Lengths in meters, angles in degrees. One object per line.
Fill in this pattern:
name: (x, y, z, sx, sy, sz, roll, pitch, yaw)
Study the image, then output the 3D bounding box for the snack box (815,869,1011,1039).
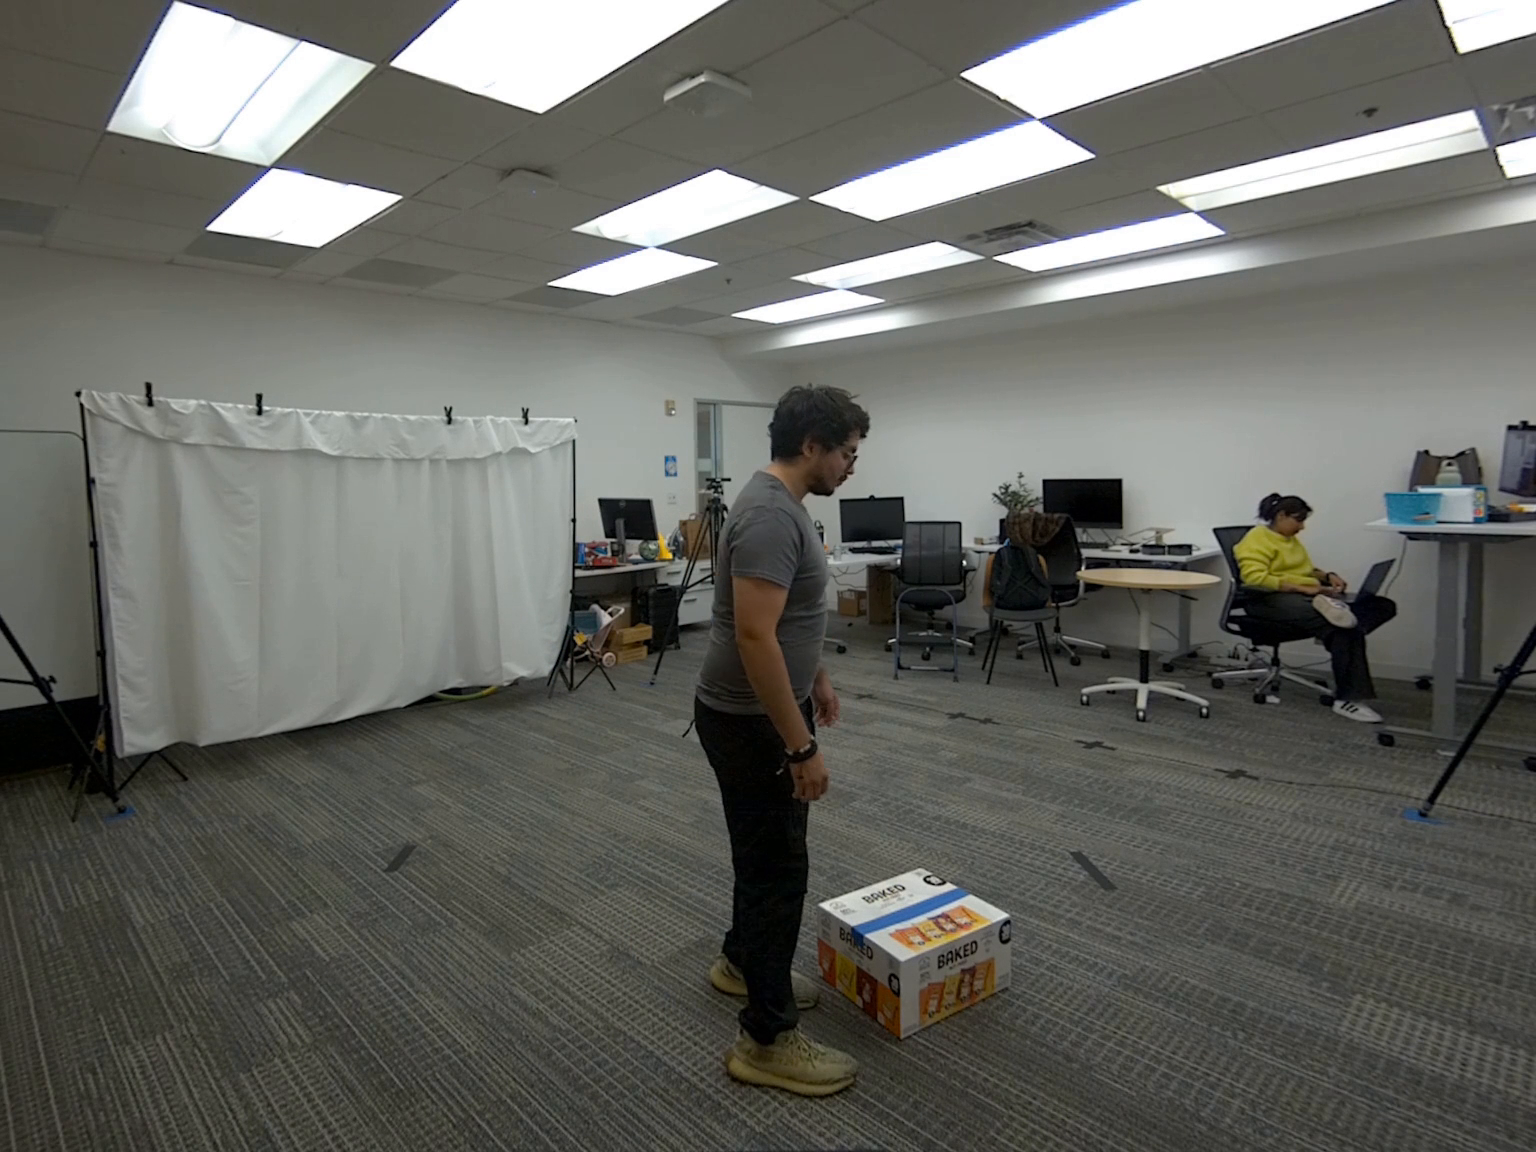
snack box: (0.406, 1.021, 2.355, 0.395, 0.205, 0.350, -6, 8, -33)
